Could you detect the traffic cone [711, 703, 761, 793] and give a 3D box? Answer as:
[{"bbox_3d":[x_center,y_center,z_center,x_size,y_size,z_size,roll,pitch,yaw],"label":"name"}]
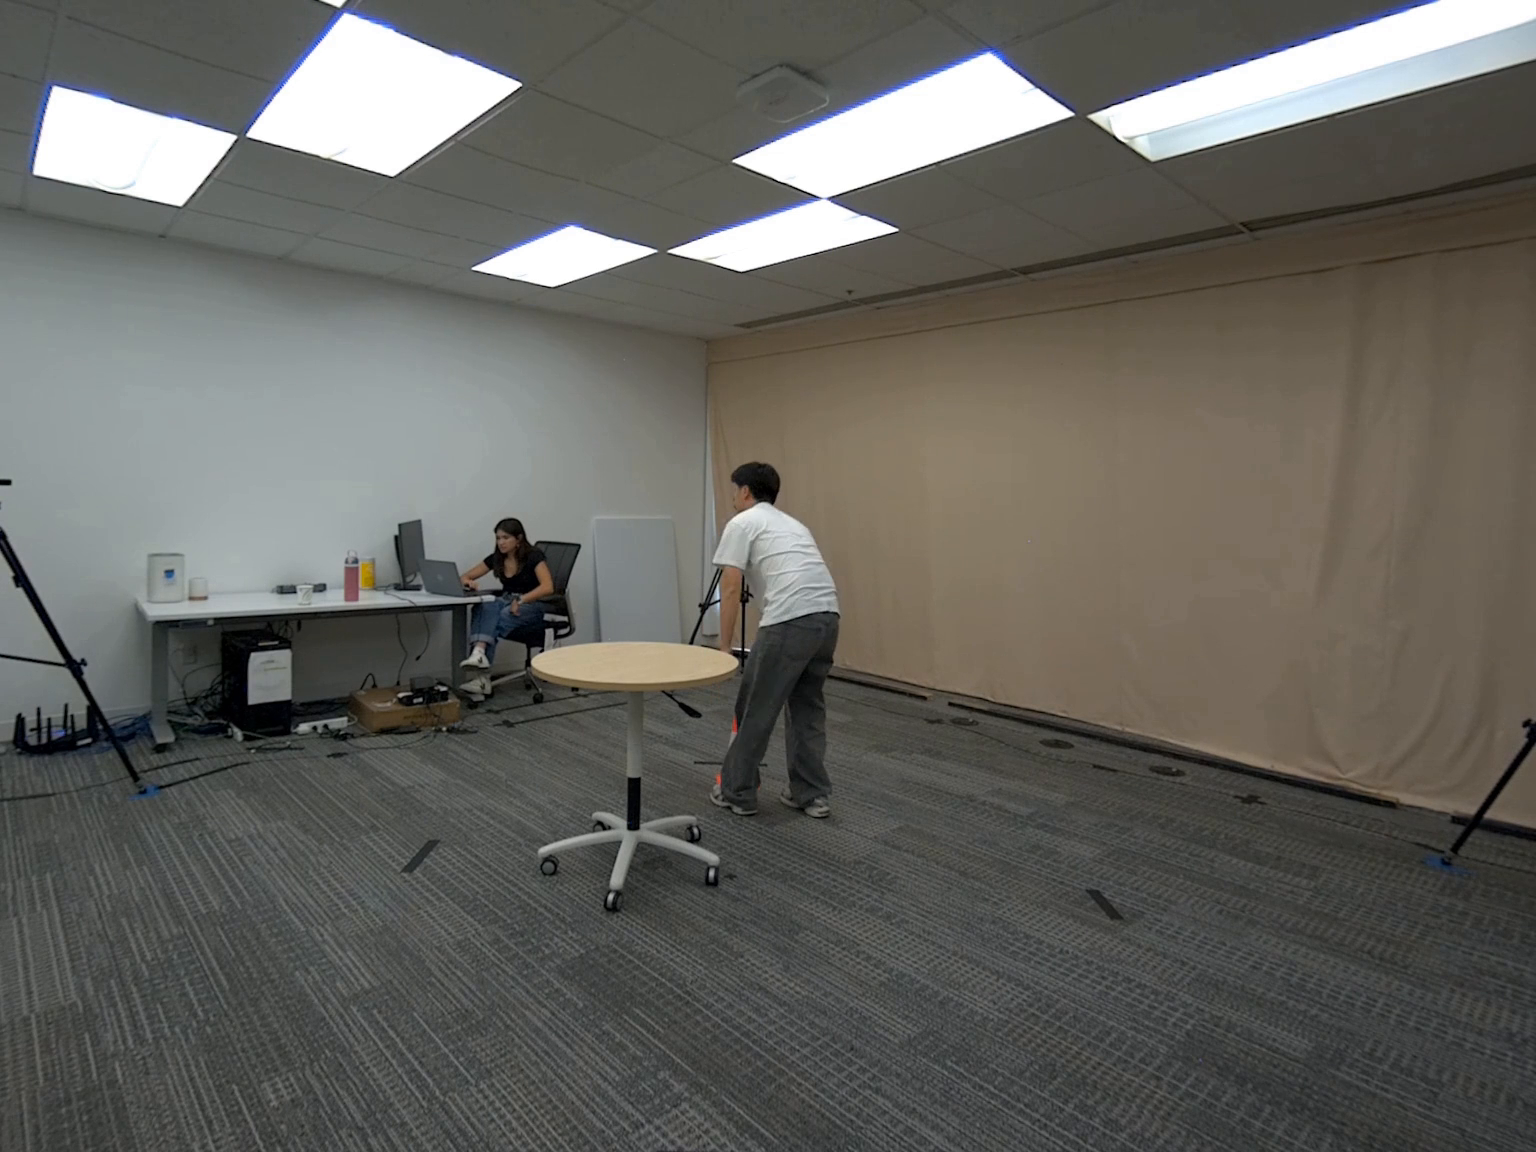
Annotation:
[{"bbox_3d":[-0.156,0.839,4.161,0.201,0.383,0.207,2,3,-12],"label":"traffic cone"}]
